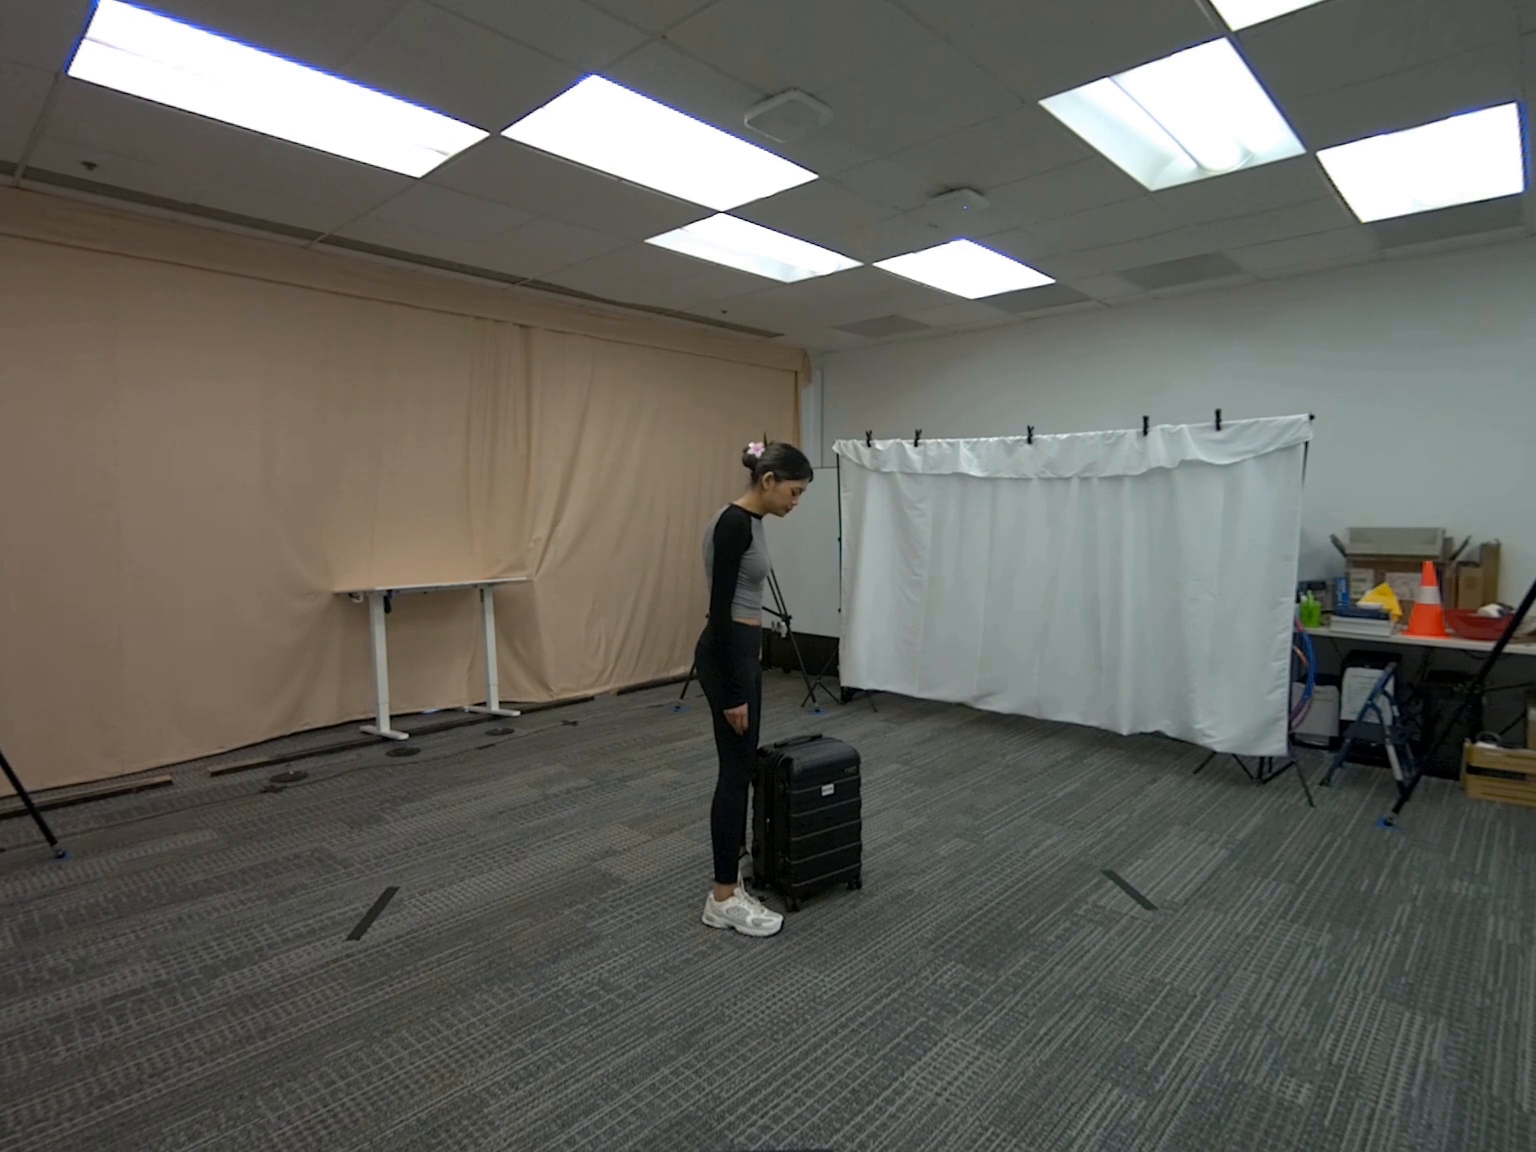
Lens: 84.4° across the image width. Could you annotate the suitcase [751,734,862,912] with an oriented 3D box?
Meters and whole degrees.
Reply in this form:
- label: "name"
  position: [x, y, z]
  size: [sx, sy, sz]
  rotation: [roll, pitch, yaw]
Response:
- label: "suitcase"
  position: [0.150, 0.862, 3.035]
  size: [0.364, 0.548, 0.256]
  rotation: [-2, 5, -35]
